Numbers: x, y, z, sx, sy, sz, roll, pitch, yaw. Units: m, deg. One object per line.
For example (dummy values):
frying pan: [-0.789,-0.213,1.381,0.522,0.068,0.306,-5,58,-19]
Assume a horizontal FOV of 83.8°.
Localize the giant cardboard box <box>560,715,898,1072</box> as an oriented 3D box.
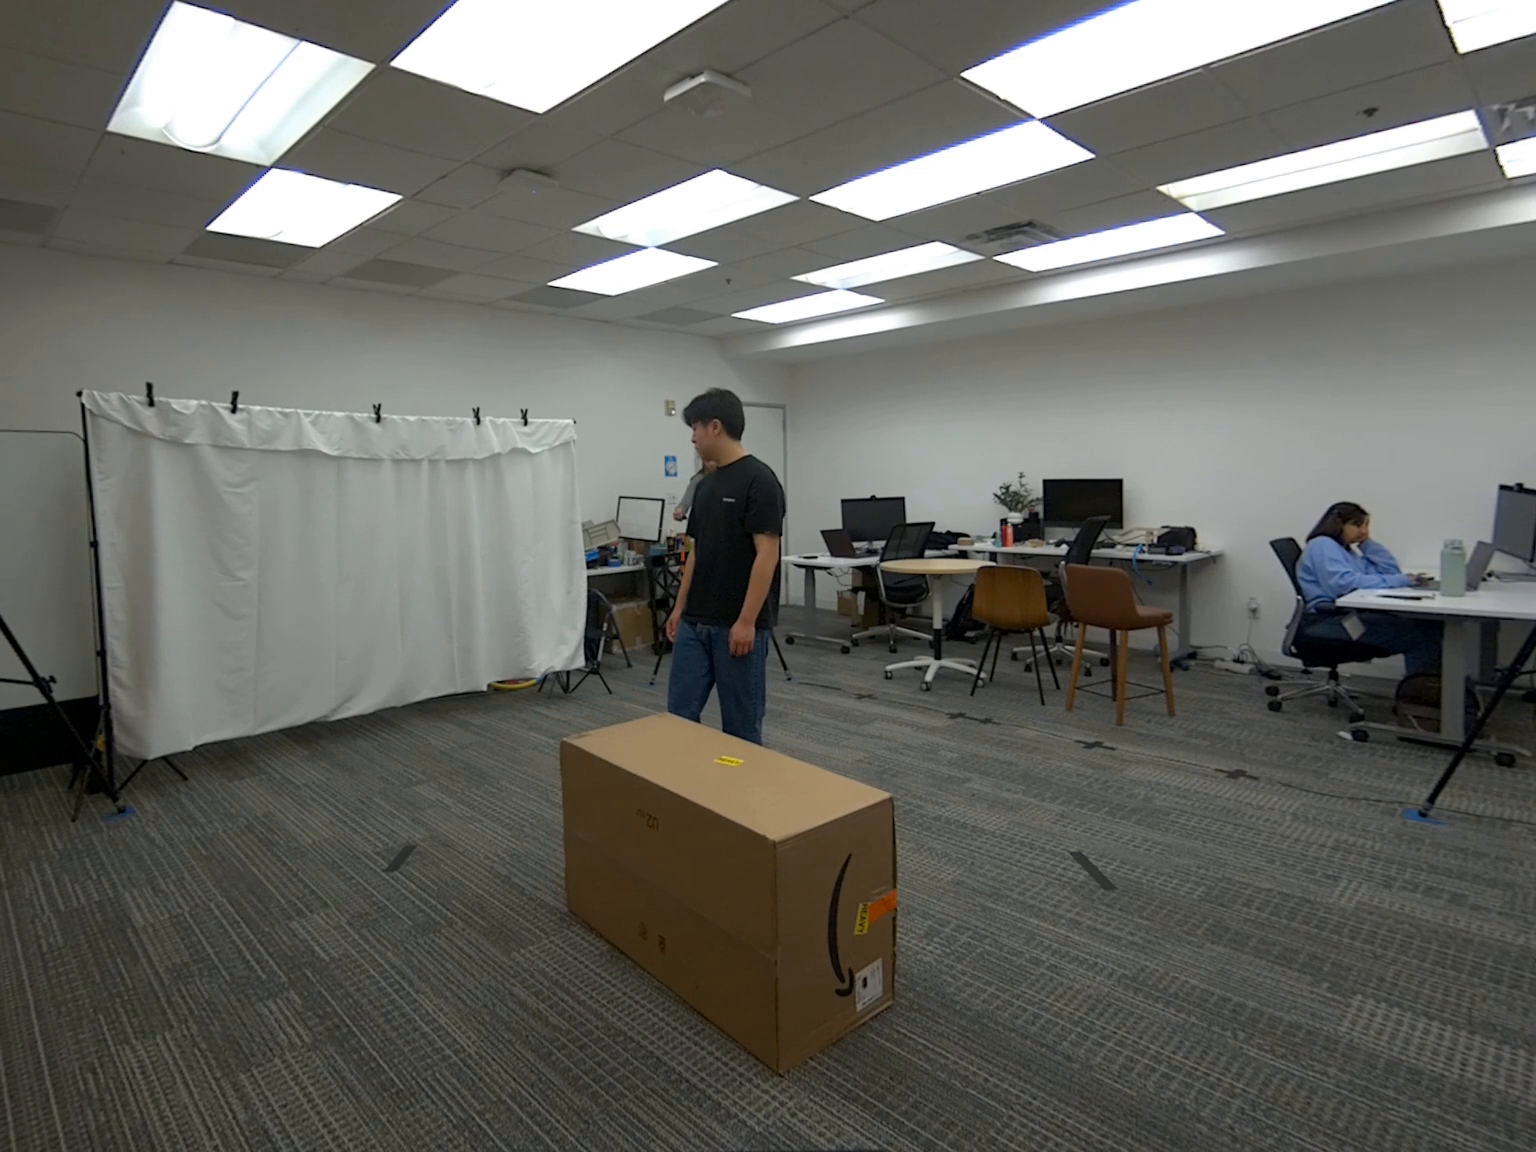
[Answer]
giant cardboard box: [-0.159,0.829,2.505,0.435,0.581,1.059,-4,7,-41]
